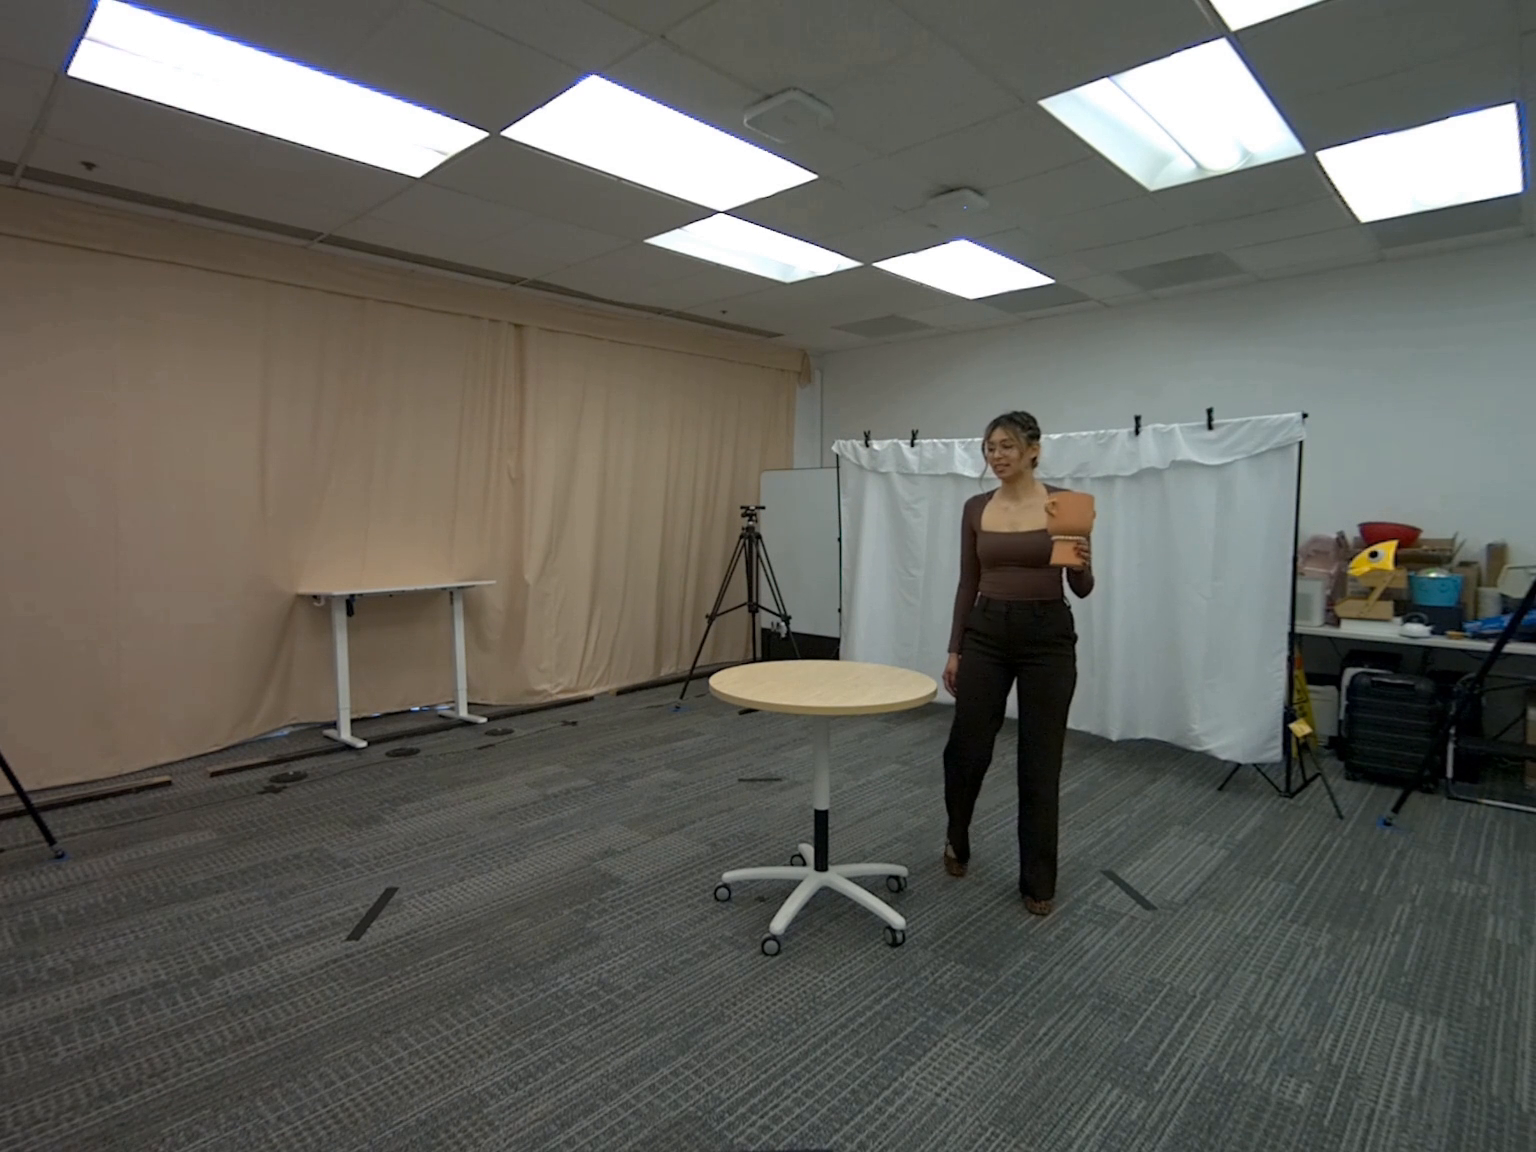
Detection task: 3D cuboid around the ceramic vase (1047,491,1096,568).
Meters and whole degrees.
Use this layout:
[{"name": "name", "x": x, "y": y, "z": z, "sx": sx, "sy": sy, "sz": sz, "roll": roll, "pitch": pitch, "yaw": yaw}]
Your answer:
[{"name": "ceramic vase", "x": 0.931, "y": -0.141, "z": 2.606, "sx": 0.161, "sy": 0.220, "sz": 0.132, "roll": 4, "pitch": -5, "yaw": 14}]
